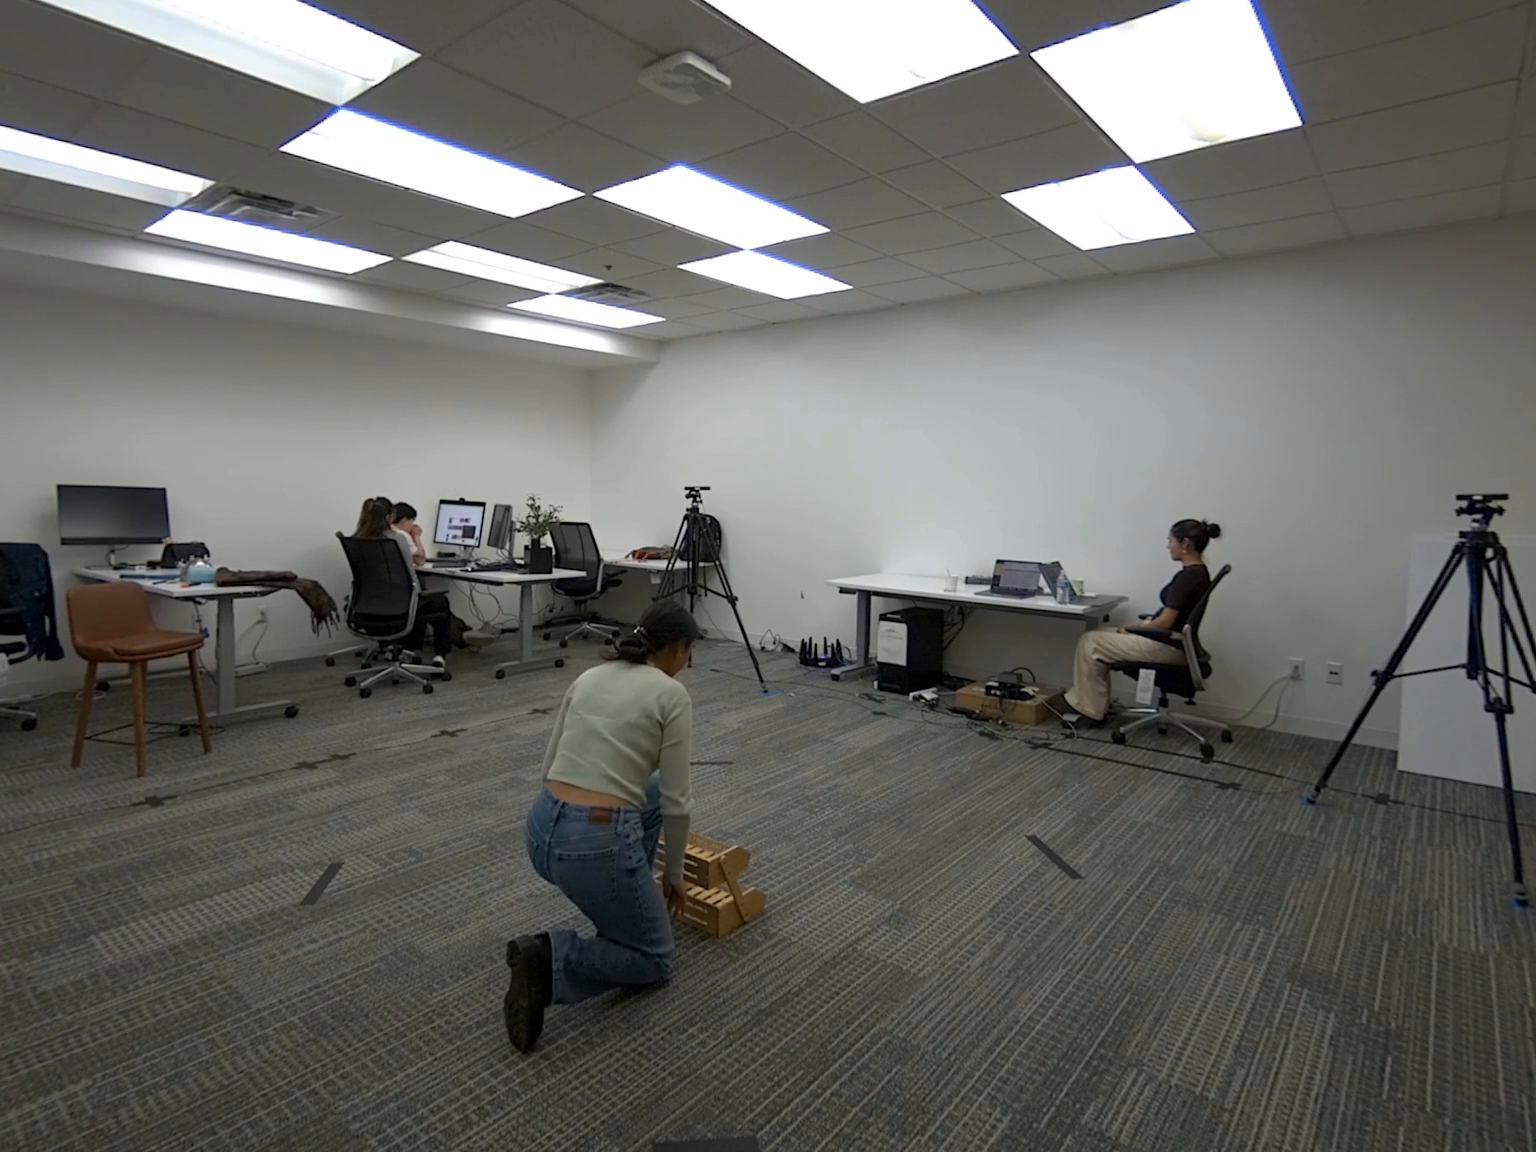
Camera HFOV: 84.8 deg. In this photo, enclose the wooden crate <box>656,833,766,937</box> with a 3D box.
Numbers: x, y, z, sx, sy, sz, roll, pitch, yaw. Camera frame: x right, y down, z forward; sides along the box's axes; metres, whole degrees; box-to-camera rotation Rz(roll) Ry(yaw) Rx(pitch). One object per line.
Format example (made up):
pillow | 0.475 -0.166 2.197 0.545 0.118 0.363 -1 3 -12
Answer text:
wooden crate | -0.220 0.960 2.785 0.335 0.272 0.293 3 5 37
